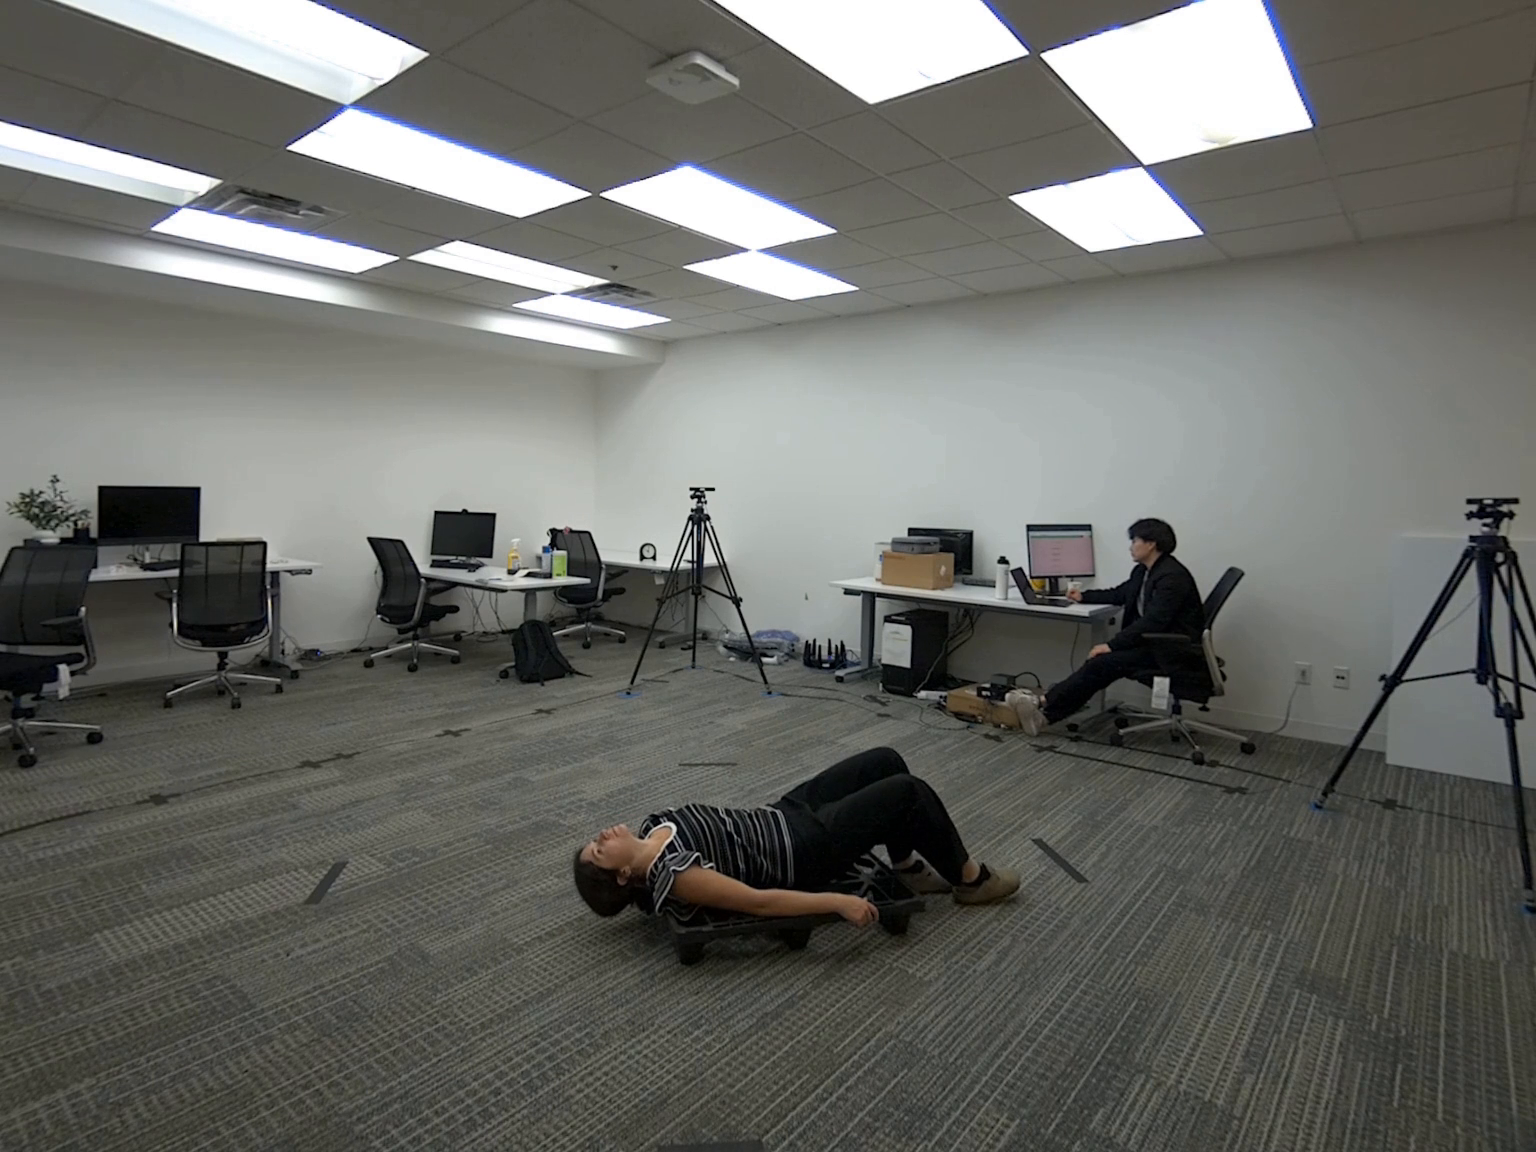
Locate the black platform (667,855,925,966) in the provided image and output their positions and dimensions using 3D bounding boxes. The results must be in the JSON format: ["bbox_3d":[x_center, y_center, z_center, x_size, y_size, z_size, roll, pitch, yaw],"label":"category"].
[{"bbox_3d":[0.013,1.032,2.790,0.791,0.143,0.618,0,5,-17],"label":"black platform"}]
